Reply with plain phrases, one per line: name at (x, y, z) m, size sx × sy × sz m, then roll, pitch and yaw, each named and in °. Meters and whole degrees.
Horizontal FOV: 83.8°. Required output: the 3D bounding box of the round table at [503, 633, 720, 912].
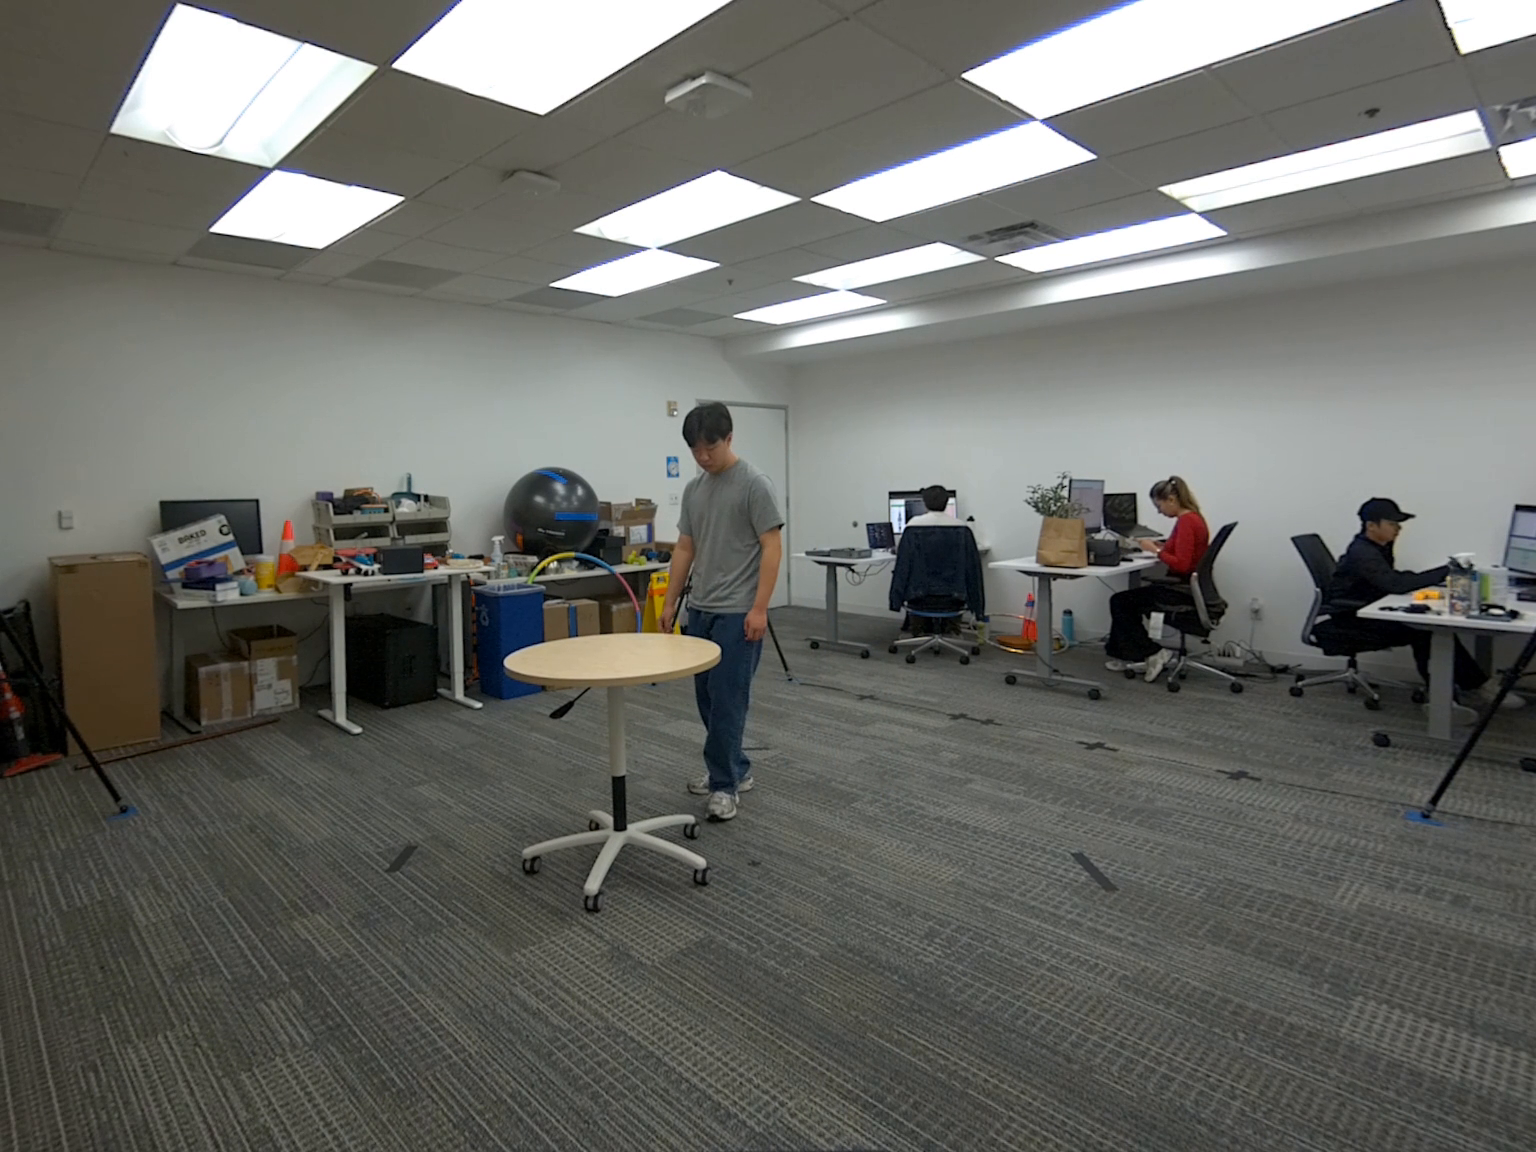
round table at (-0.542, 0.670, 3.080) m, size 0.763 × 0.791 × 0.768 m, roll -2°, pitch 5°, yaw -2°
